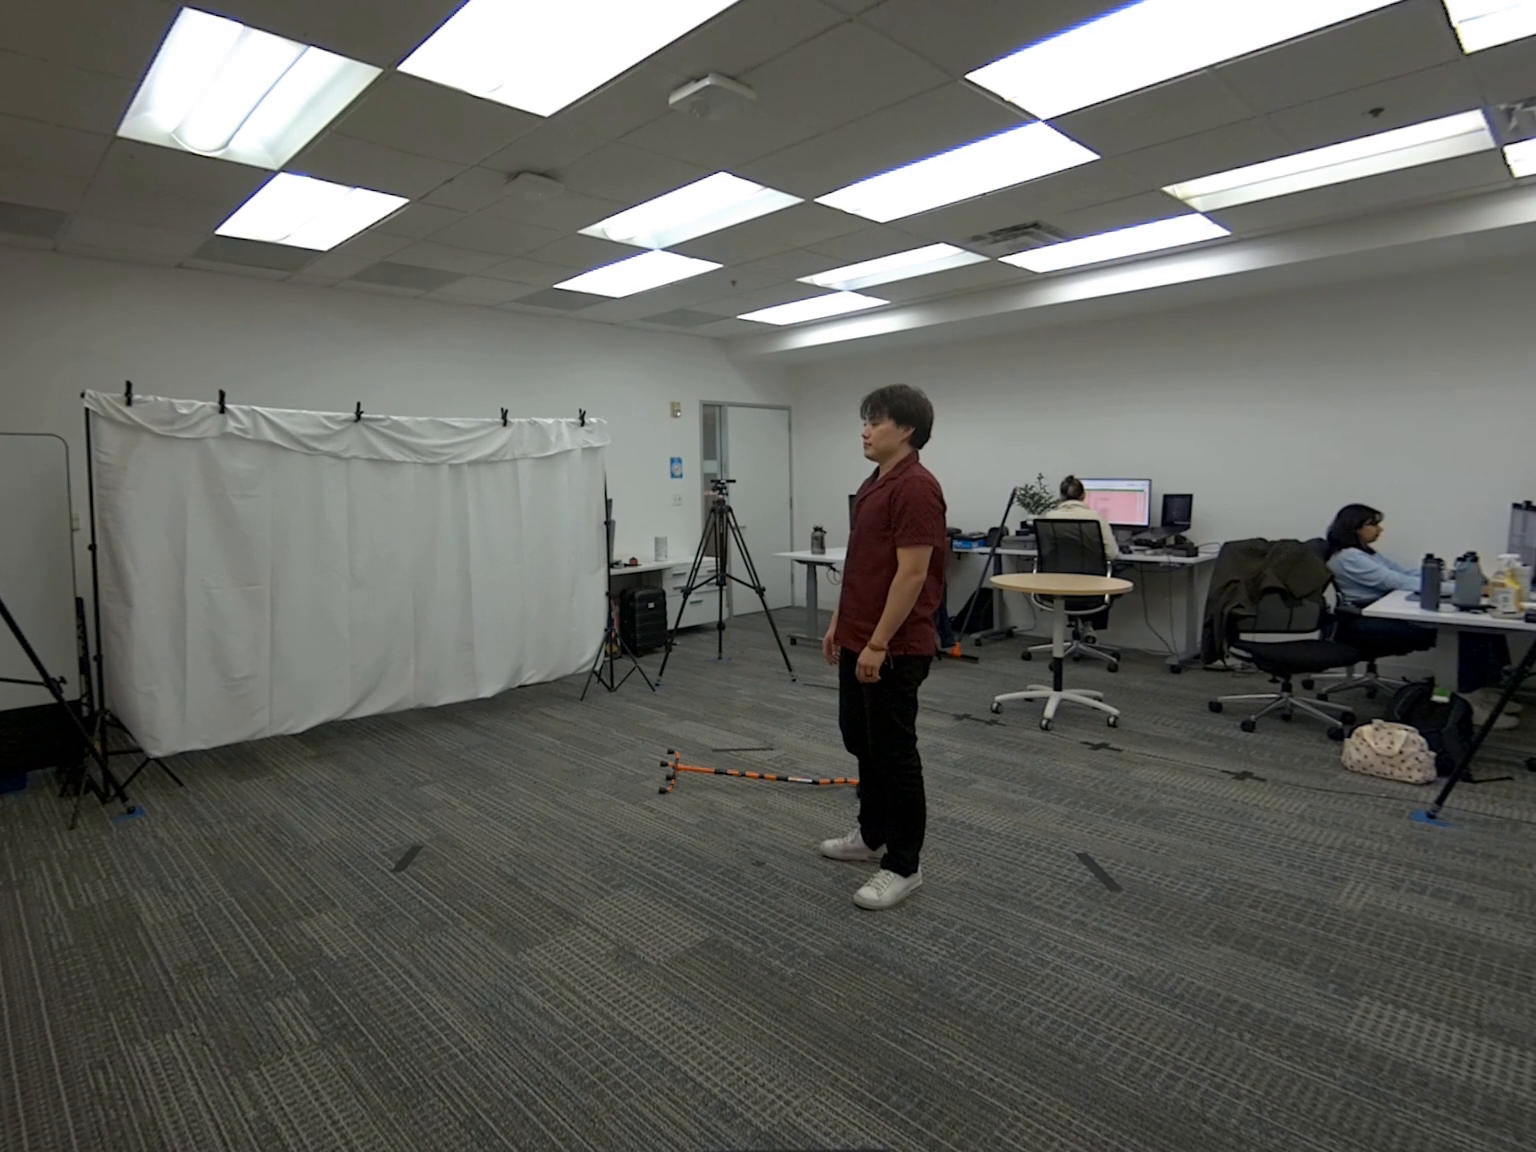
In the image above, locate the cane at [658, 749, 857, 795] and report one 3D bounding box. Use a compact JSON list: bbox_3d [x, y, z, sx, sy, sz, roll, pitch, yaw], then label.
[{"bbox_3d":[-0.027,0.920,3.873,0.914,0.151,0.206,4,6,6],"label":"cane"}]
